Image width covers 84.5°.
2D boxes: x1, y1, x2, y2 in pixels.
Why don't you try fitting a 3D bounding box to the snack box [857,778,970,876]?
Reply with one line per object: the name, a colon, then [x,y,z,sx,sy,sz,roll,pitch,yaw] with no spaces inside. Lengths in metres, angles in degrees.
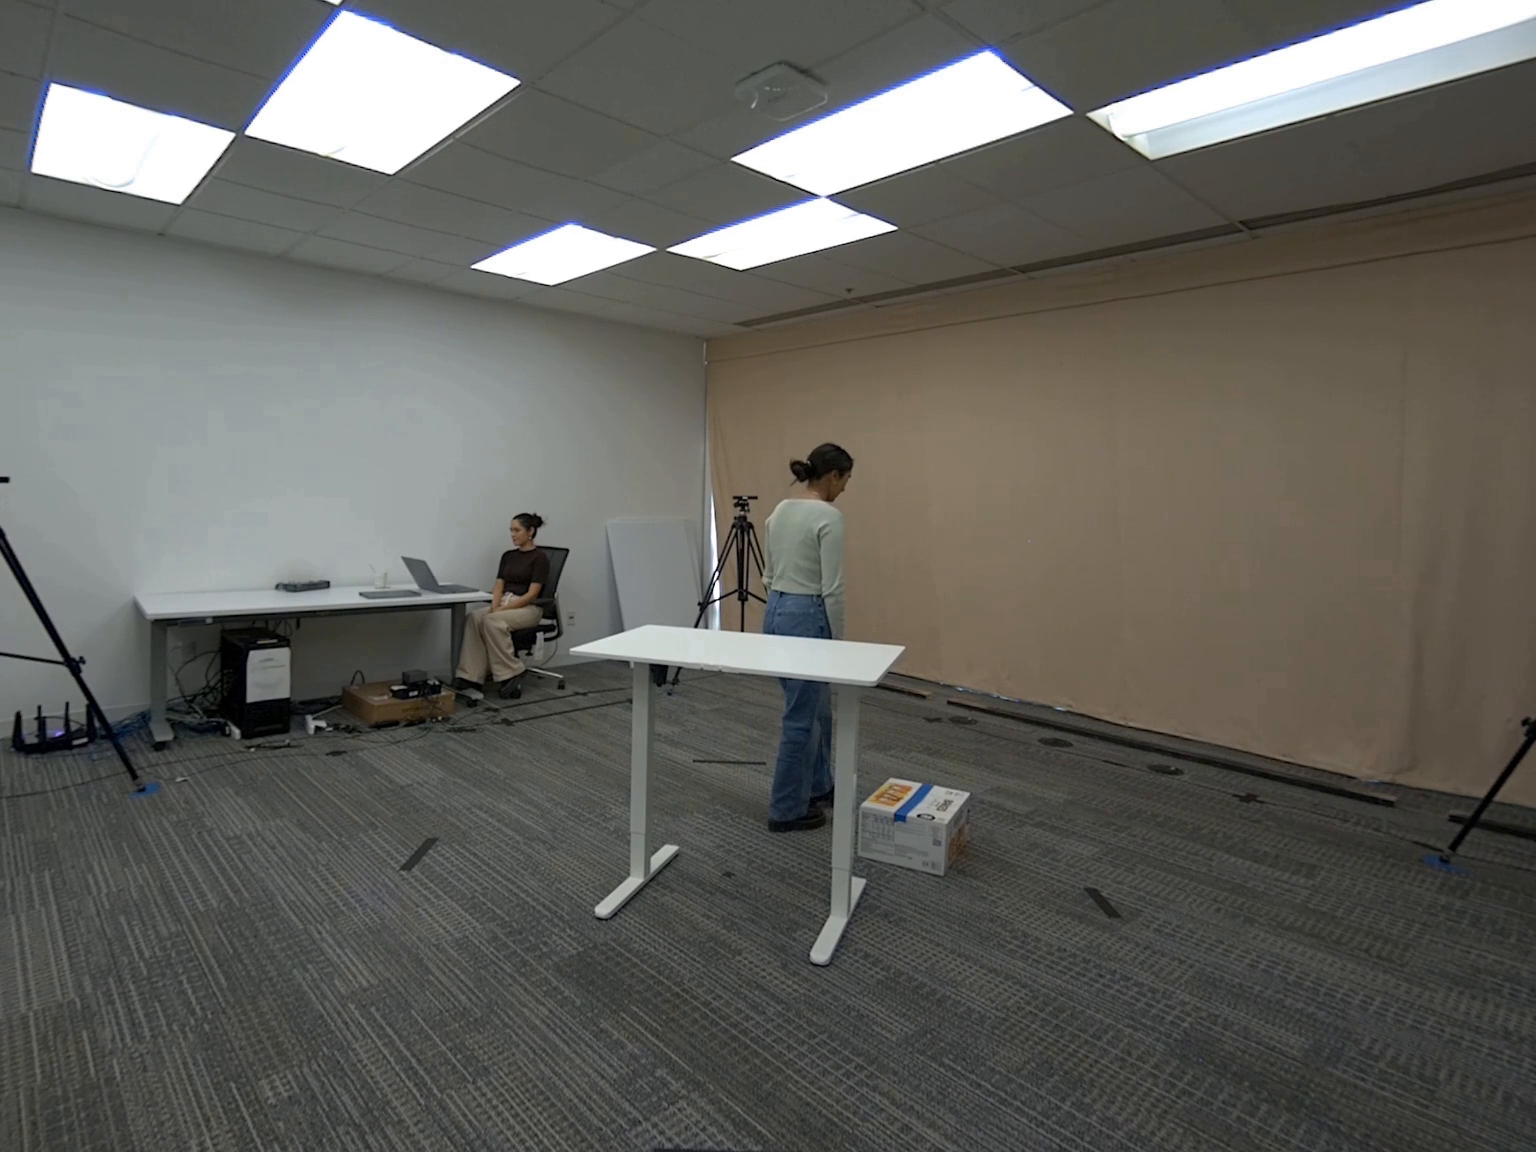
snack box: [0.586,0.995,3.377,0.347,0.205,0.398,4,5,27]
